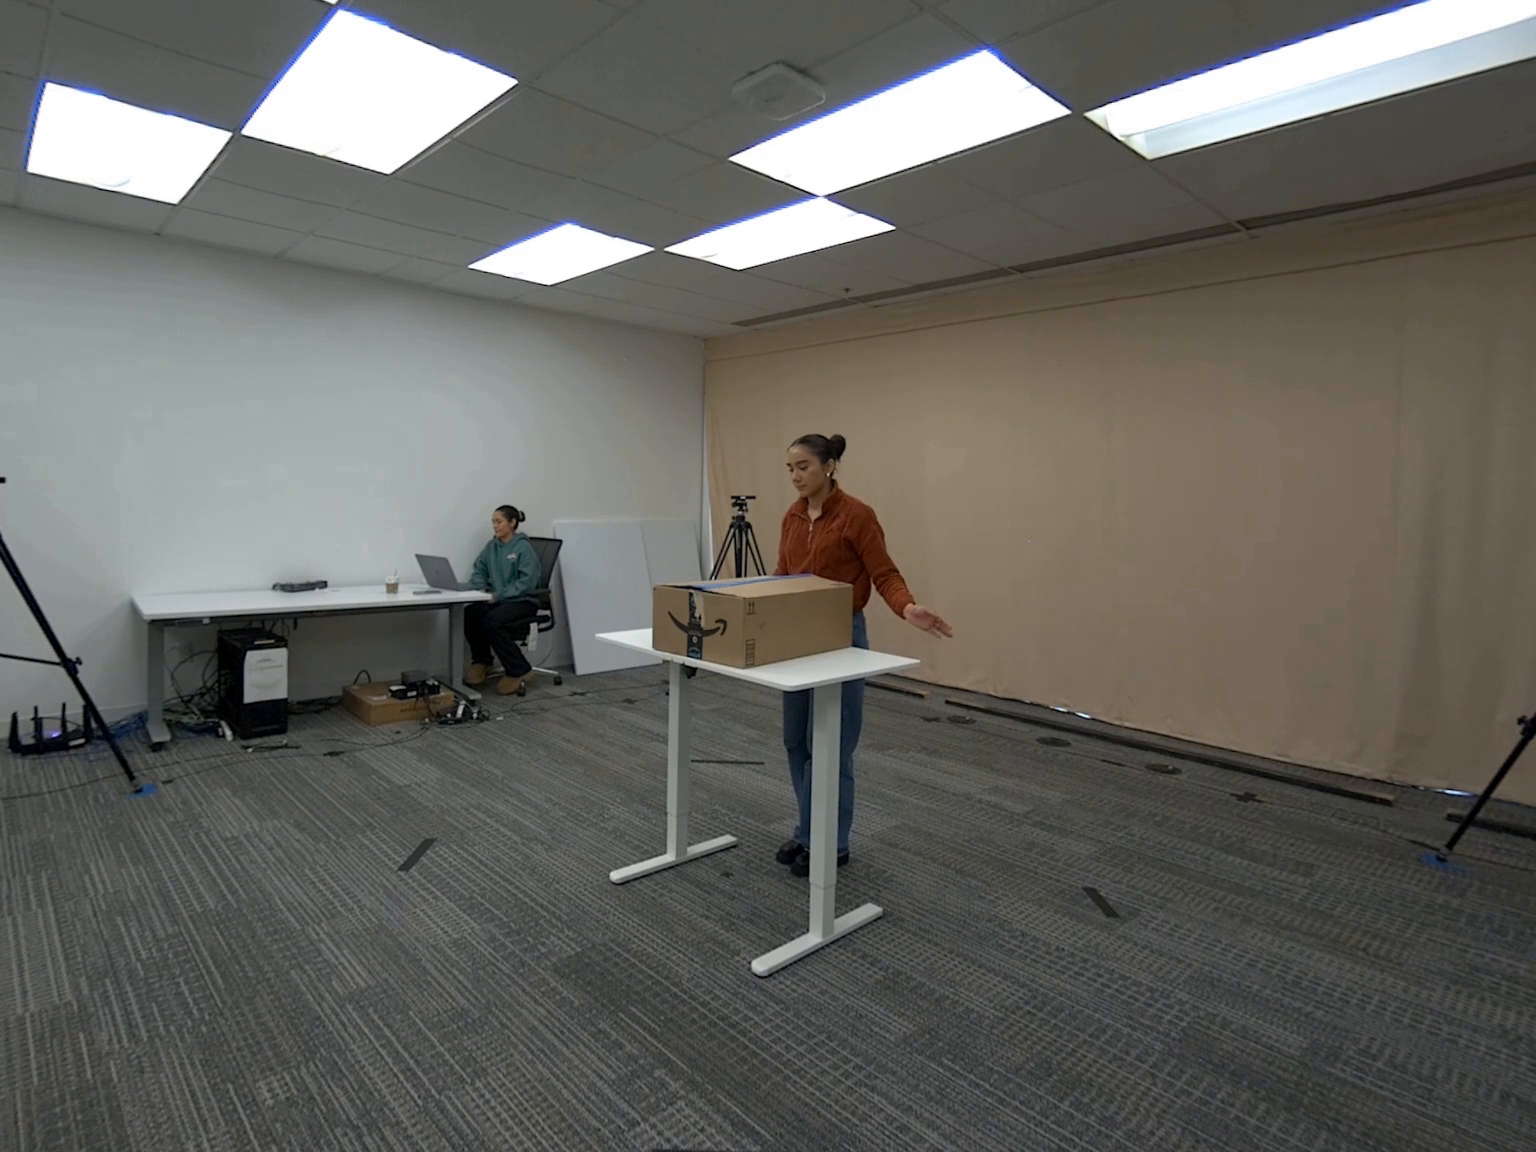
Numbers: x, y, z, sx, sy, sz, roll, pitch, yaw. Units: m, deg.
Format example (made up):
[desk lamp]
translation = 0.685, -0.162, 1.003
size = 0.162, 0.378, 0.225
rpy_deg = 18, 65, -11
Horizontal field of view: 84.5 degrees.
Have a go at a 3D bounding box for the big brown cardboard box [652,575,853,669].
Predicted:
[big brown cardboard box]
translation = -0.048, 0.137, 2.845
size = 0.428, 0.232, 0.576
rpy_deg = 6, 8, 41
